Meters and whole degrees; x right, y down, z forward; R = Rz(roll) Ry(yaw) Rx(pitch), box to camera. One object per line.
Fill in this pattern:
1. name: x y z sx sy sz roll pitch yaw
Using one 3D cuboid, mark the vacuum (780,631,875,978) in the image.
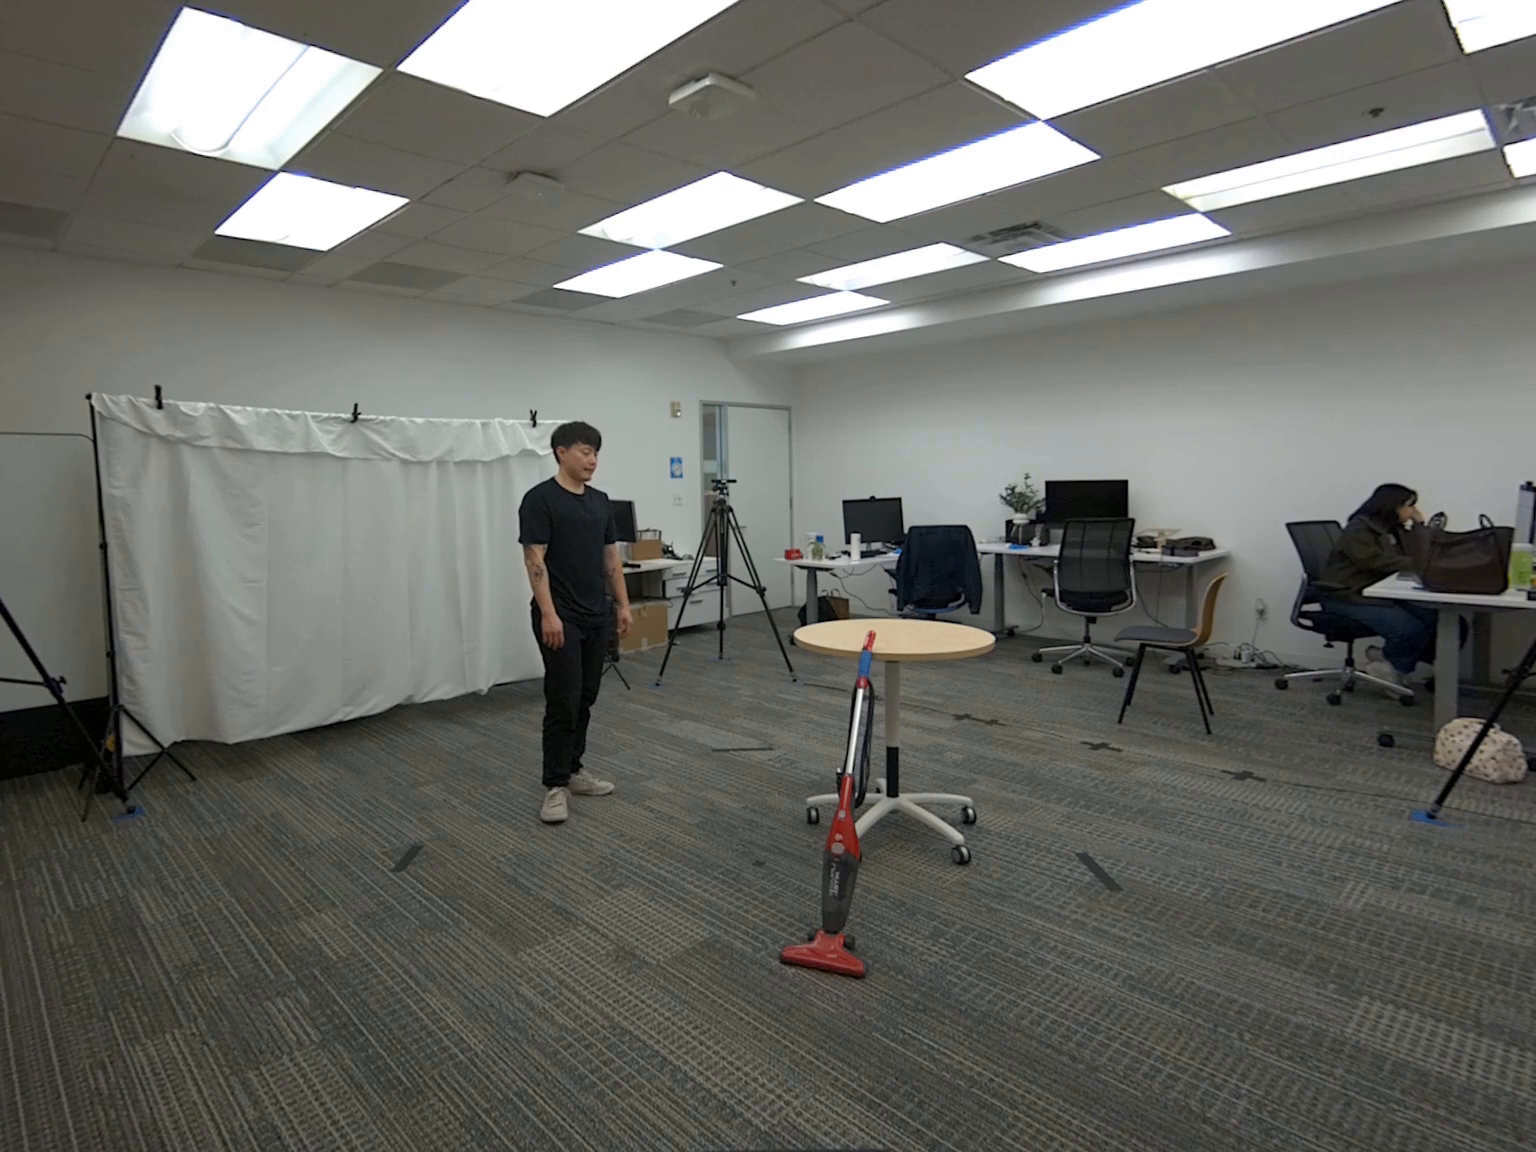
1. vacuum: 0.272 0.660 2.753 0.258 1.067 0.138 -1 -33 22
